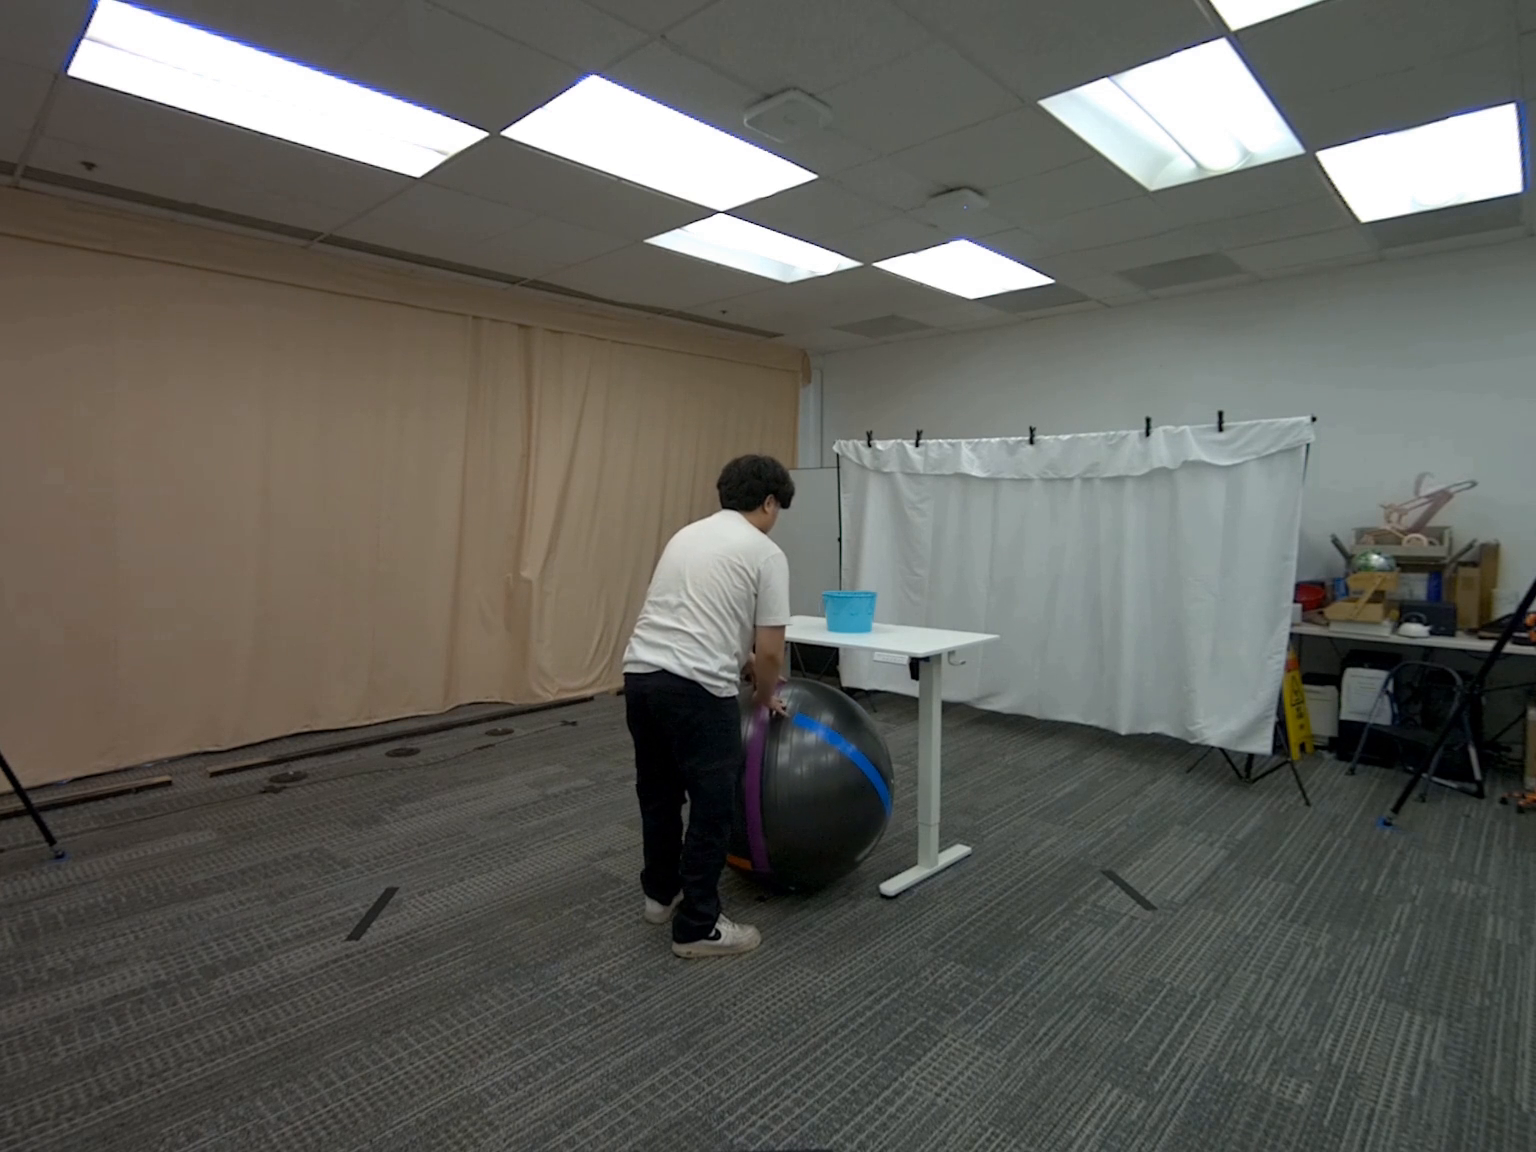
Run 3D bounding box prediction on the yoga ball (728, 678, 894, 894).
[{"bbox_3d":[0.085,0.767,3.135,0.757,0.756,0.760,0,4,-2],"label":"yoga ball"}]
